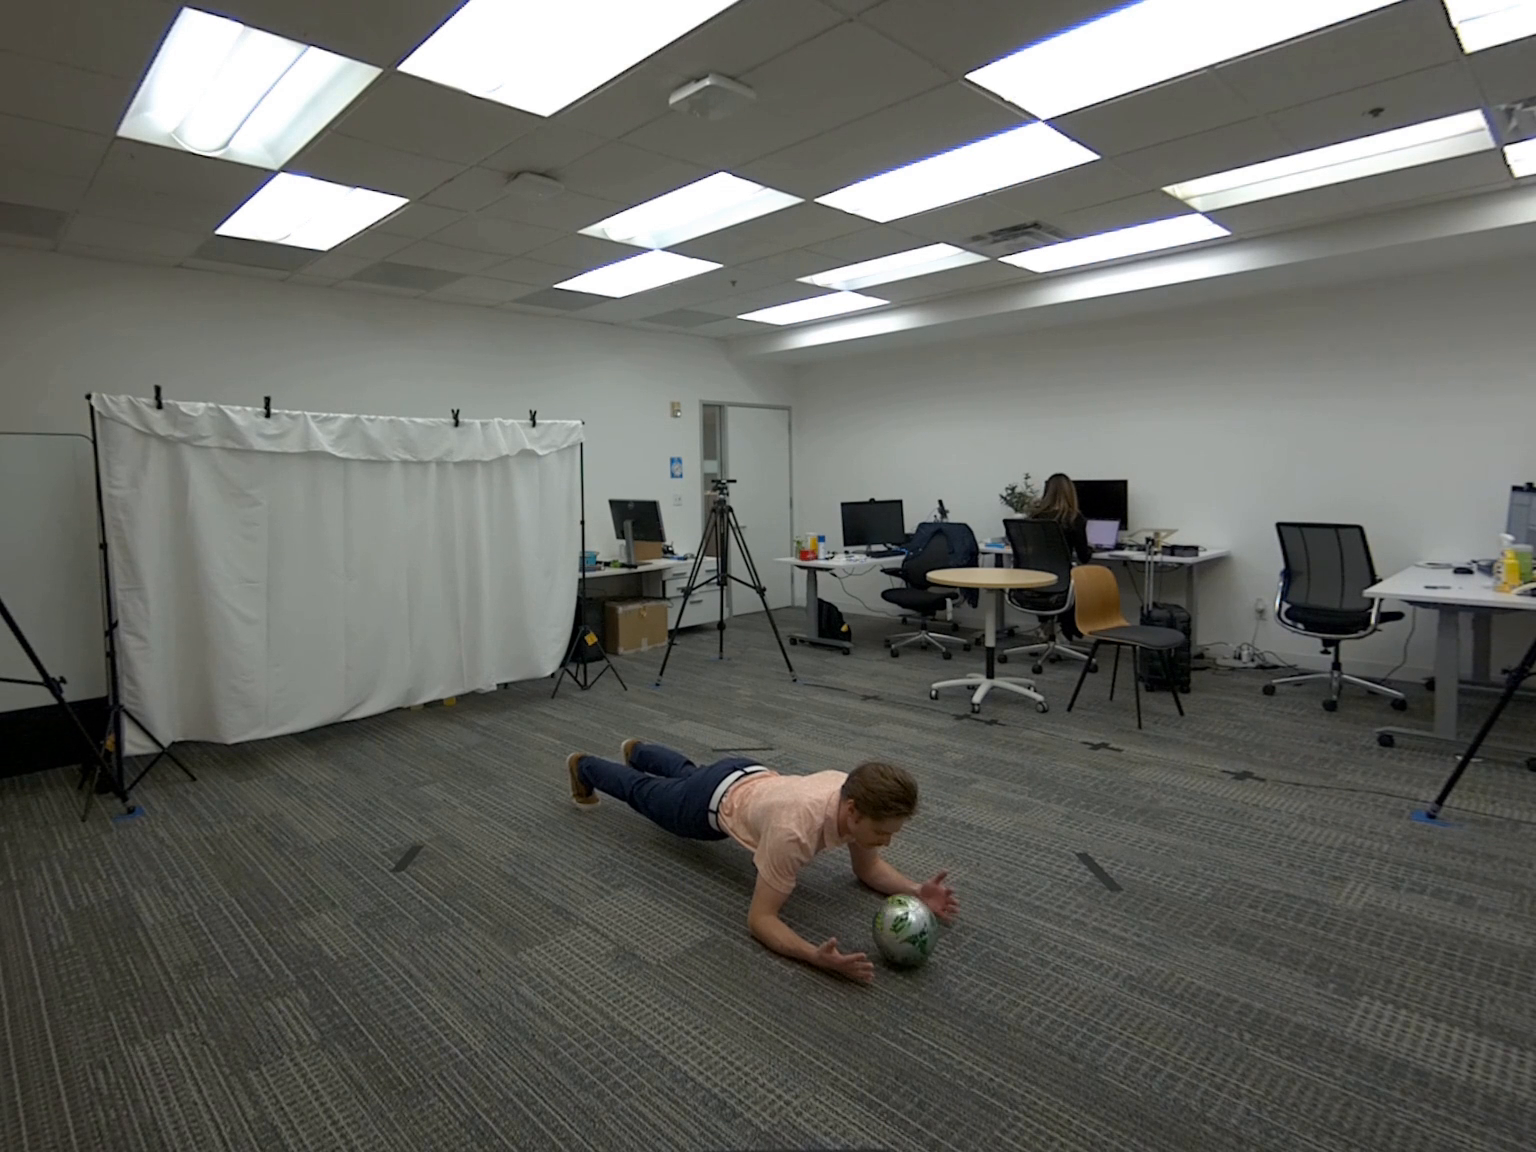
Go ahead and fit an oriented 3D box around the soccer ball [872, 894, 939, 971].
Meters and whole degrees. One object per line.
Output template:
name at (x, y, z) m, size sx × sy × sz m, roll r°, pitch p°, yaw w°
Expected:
soccer ball at (0.401, 1.026, 2.463) m, size 0.187 × 0.187 × 0.188 m, roll -1°, pitch 5°, yaw -2°
